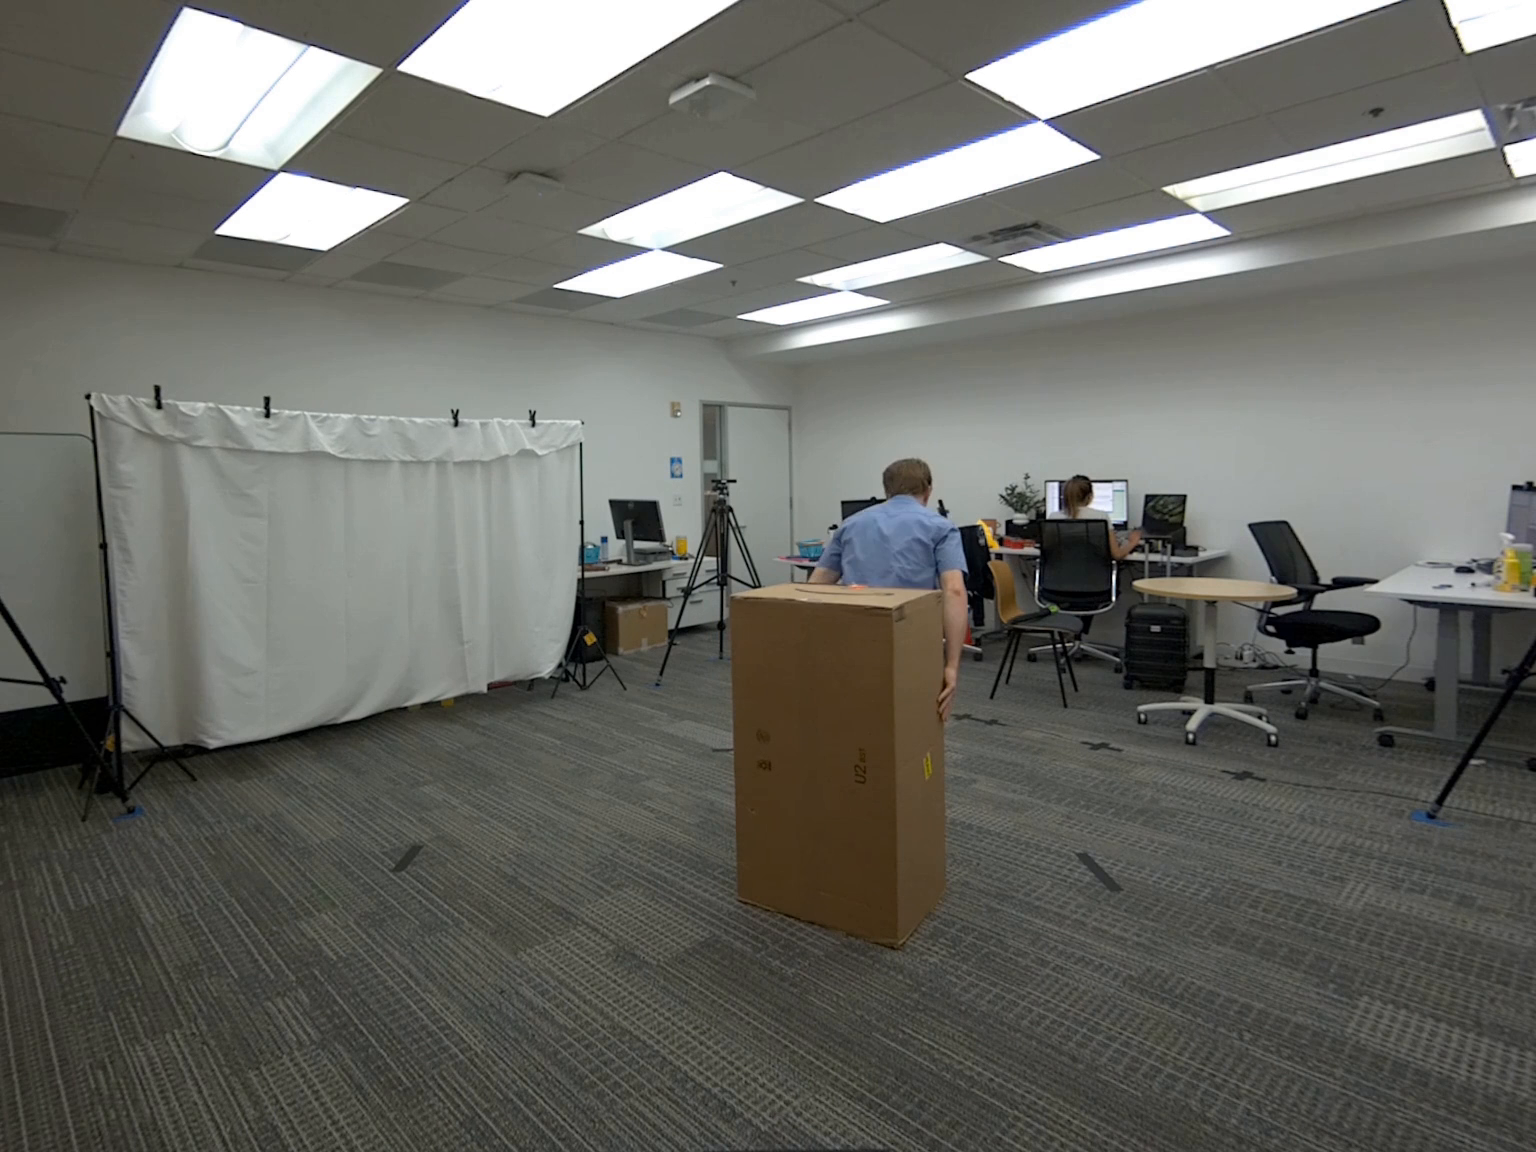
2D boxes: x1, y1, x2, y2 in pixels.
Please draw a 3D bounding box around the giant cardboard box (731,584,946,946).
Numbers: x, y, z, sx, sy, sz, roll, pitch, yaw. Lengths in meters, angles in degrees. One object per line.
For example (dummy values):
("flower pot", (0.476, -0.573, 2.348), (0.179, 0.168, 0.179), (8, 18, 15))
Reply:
("giant cardboard box", (0.237, 0.569, 2.825), (0.600, 1.023, 0.437), (1, 5, 32))
